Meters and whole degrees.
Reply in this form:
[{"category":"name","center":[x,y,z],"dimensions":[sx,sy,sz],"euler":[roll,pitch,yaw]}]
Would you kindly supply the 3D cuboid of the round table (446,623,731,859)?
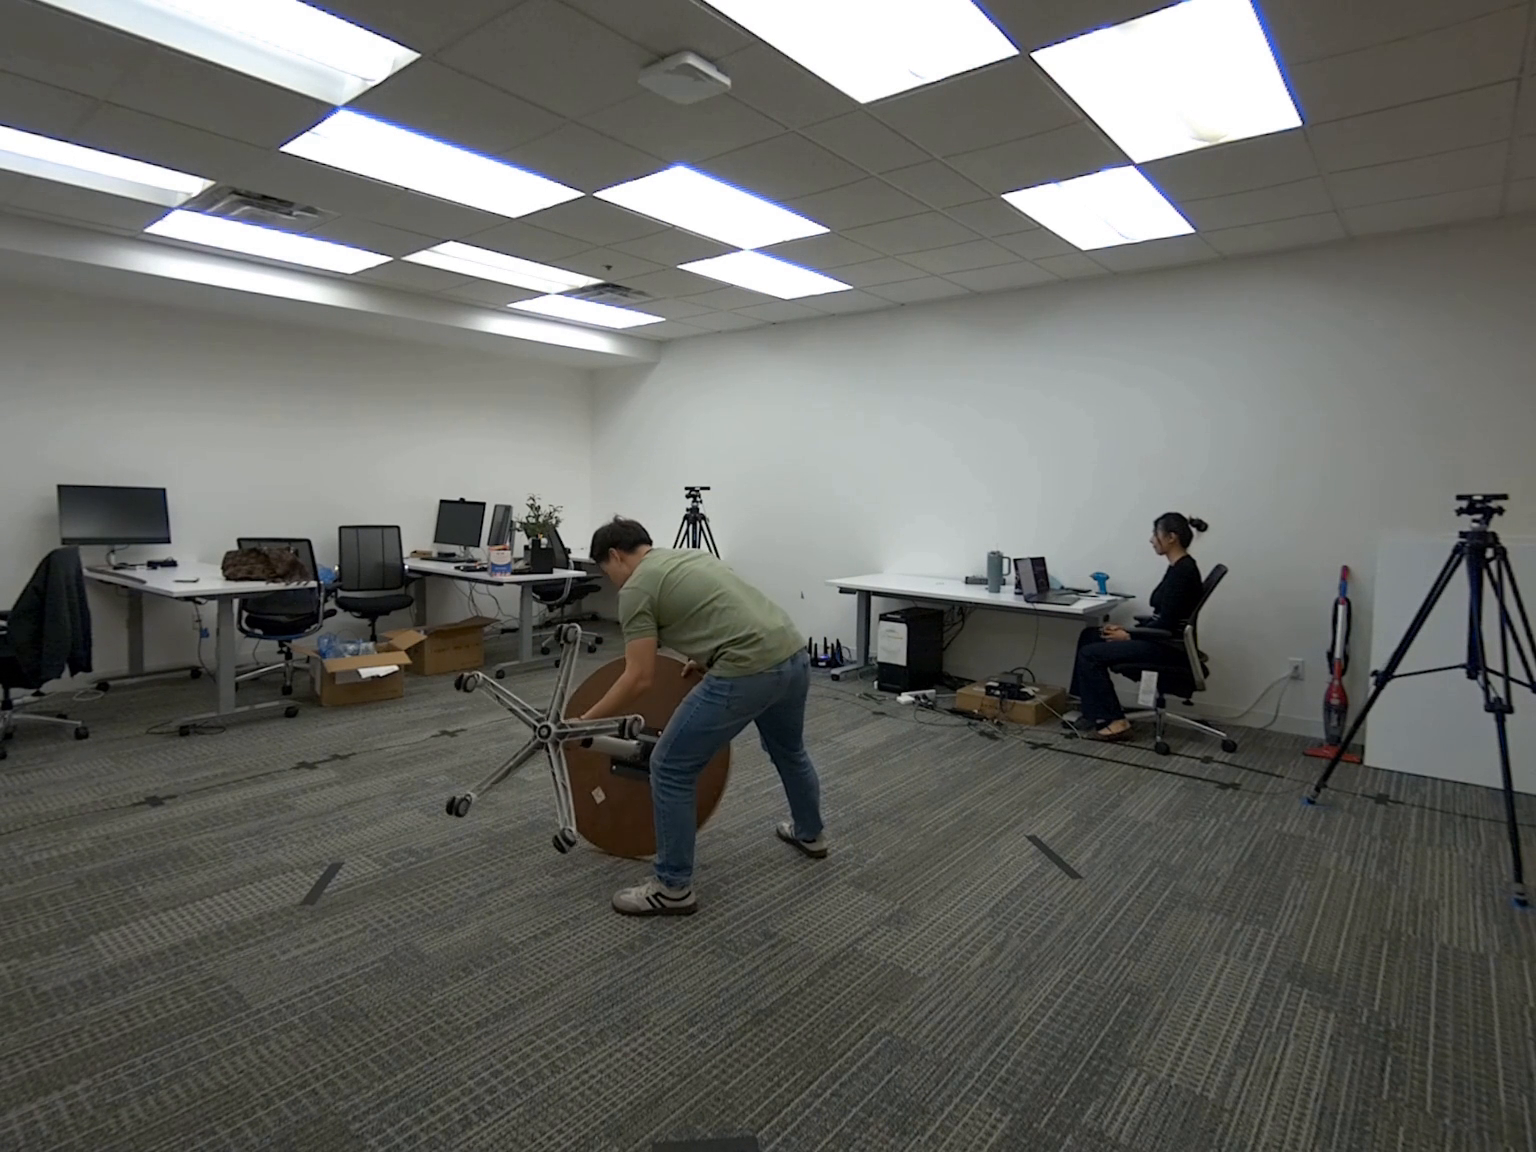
[{"category":"round table","center":[-0.626,0.577,2.970],"dimensions":[0.781,0.773,0.767],"euler":[2,-16,20]}]
